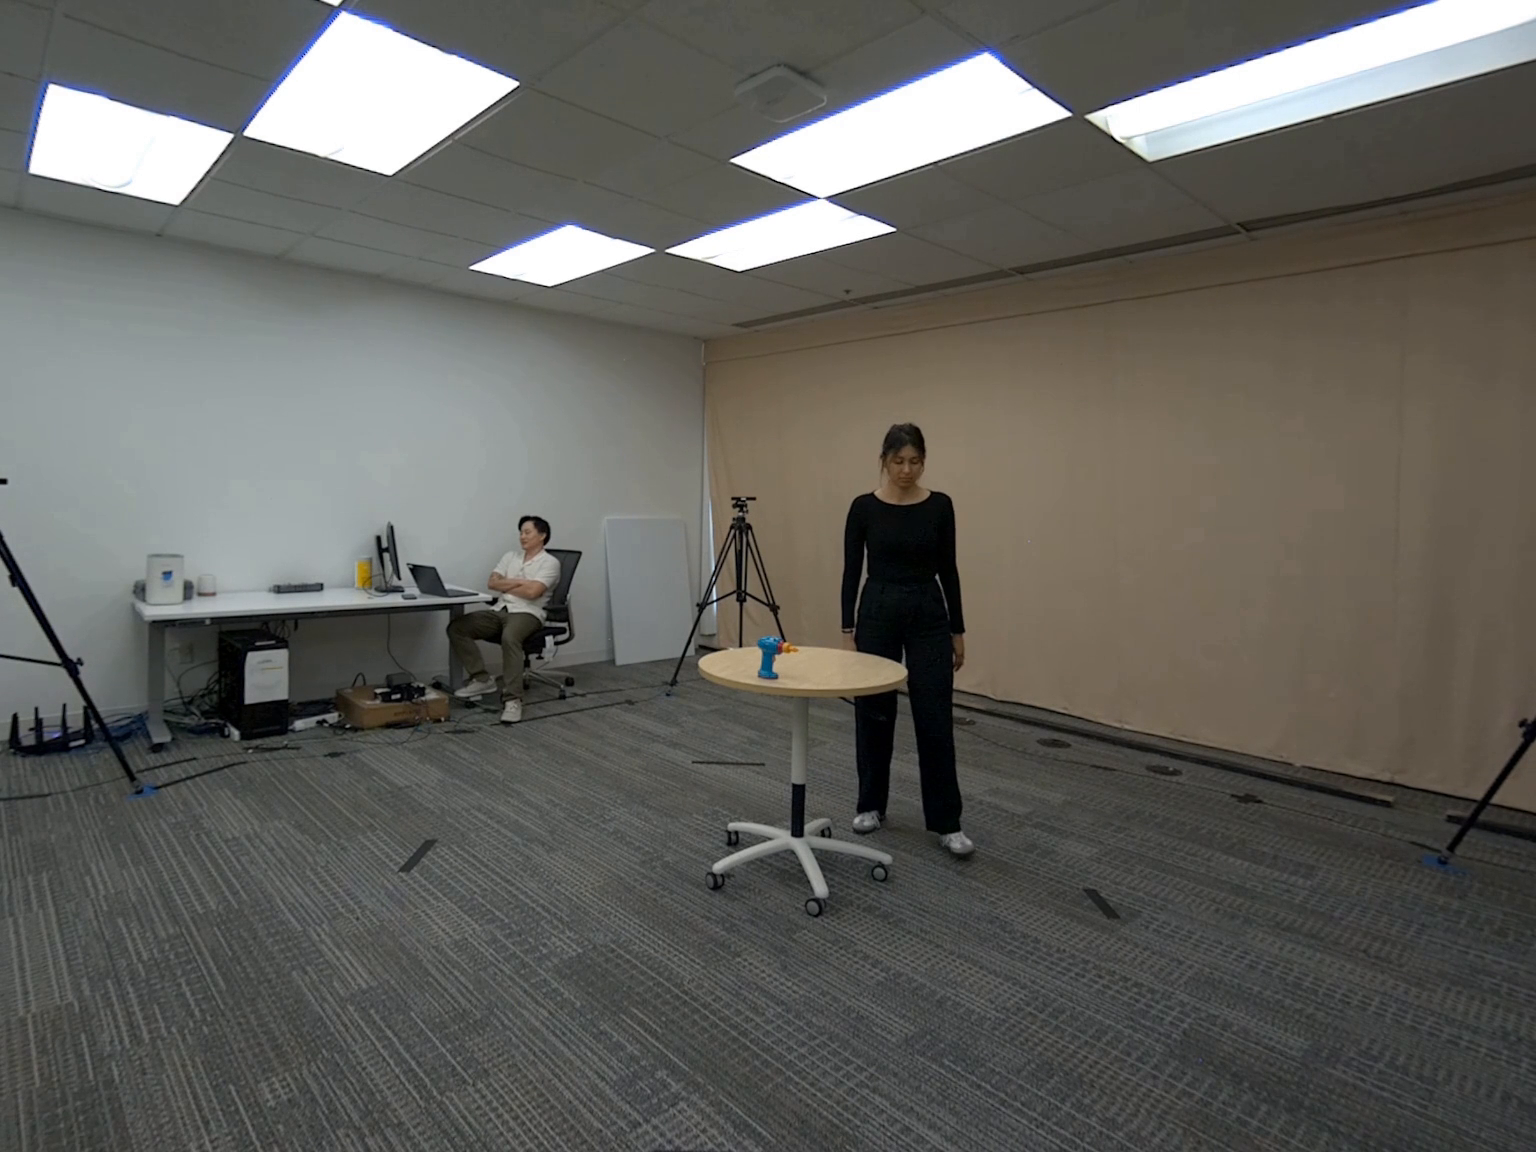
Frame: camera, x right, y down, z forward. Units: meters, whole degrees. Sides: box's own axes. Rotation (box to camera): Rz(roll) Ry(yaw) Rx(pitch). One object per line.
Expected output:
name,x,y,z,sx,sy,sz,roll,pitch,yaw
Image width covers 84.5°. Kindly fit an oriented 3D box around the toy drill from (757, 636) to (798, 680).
toy drill,0.027,0.281,2.845,0.174,0.145,0.060,6,5,38
